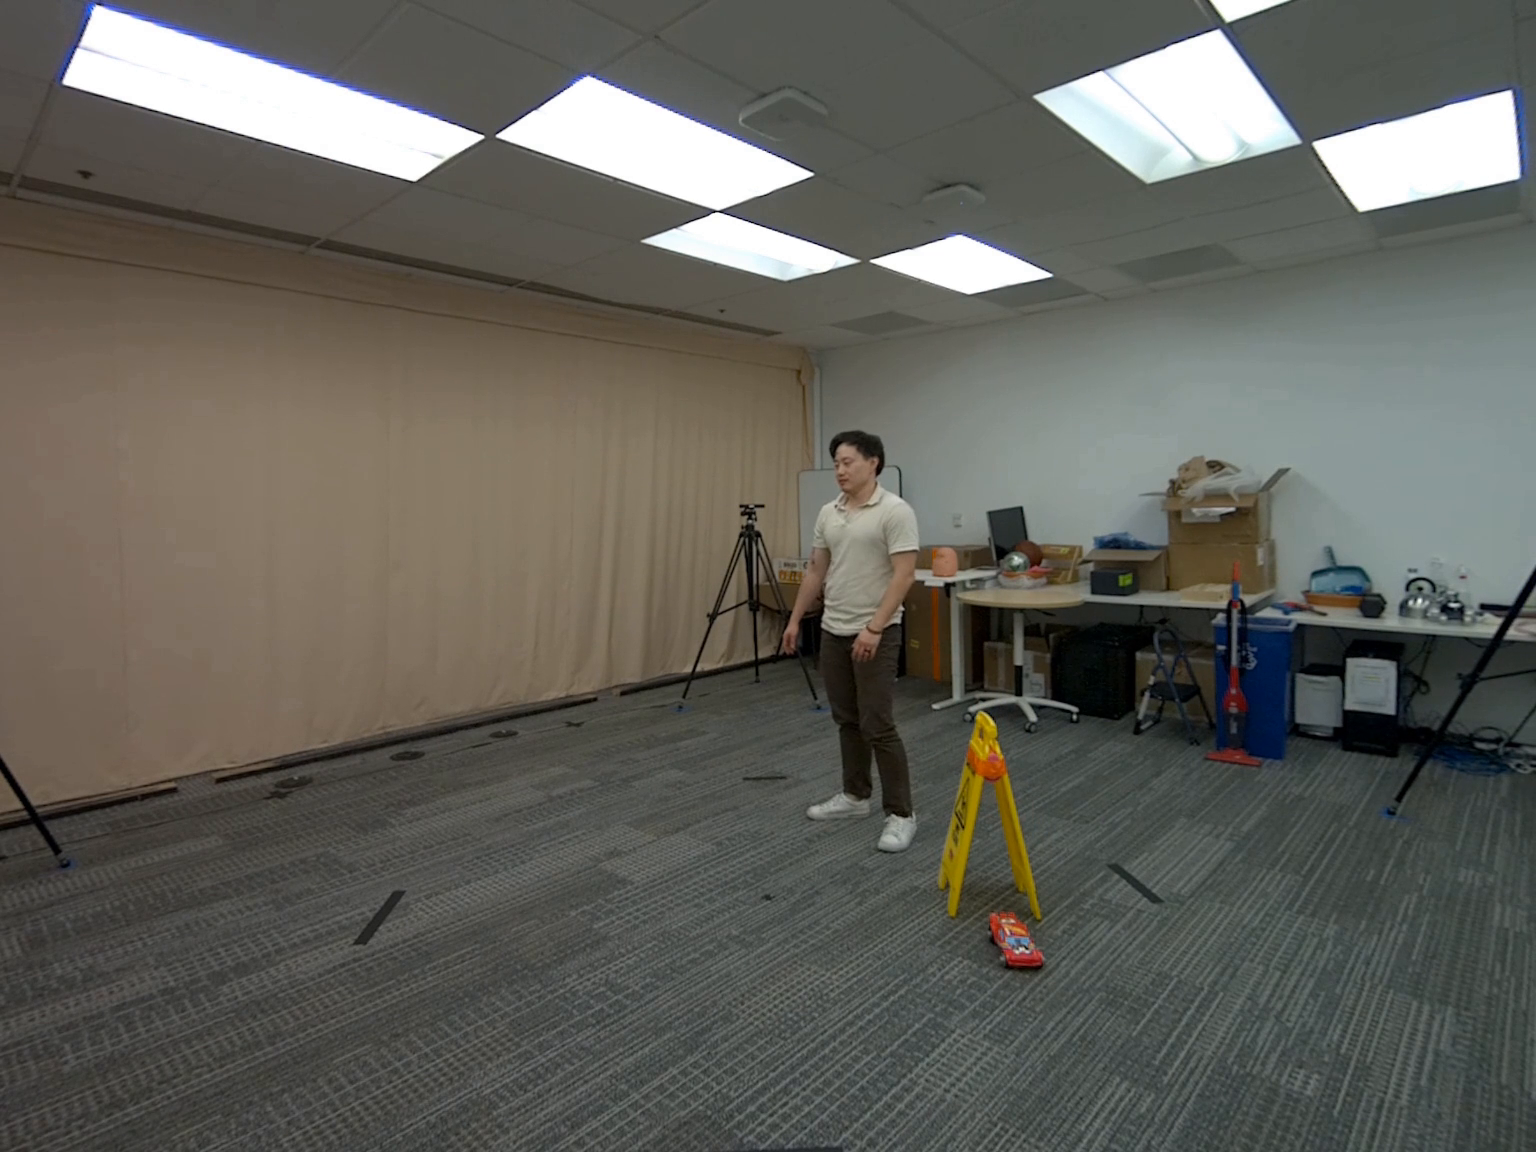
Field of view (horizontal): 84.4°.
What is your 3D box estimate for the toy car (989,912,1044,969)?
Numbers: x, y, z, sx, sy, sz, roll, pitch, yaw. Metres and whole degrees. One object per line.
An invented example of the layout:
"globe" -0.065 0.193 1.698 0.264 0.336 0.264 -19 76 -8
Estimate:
"toy car" 0.755 1.120 2.604 0.130 0.082 0.256 -2 15 1
